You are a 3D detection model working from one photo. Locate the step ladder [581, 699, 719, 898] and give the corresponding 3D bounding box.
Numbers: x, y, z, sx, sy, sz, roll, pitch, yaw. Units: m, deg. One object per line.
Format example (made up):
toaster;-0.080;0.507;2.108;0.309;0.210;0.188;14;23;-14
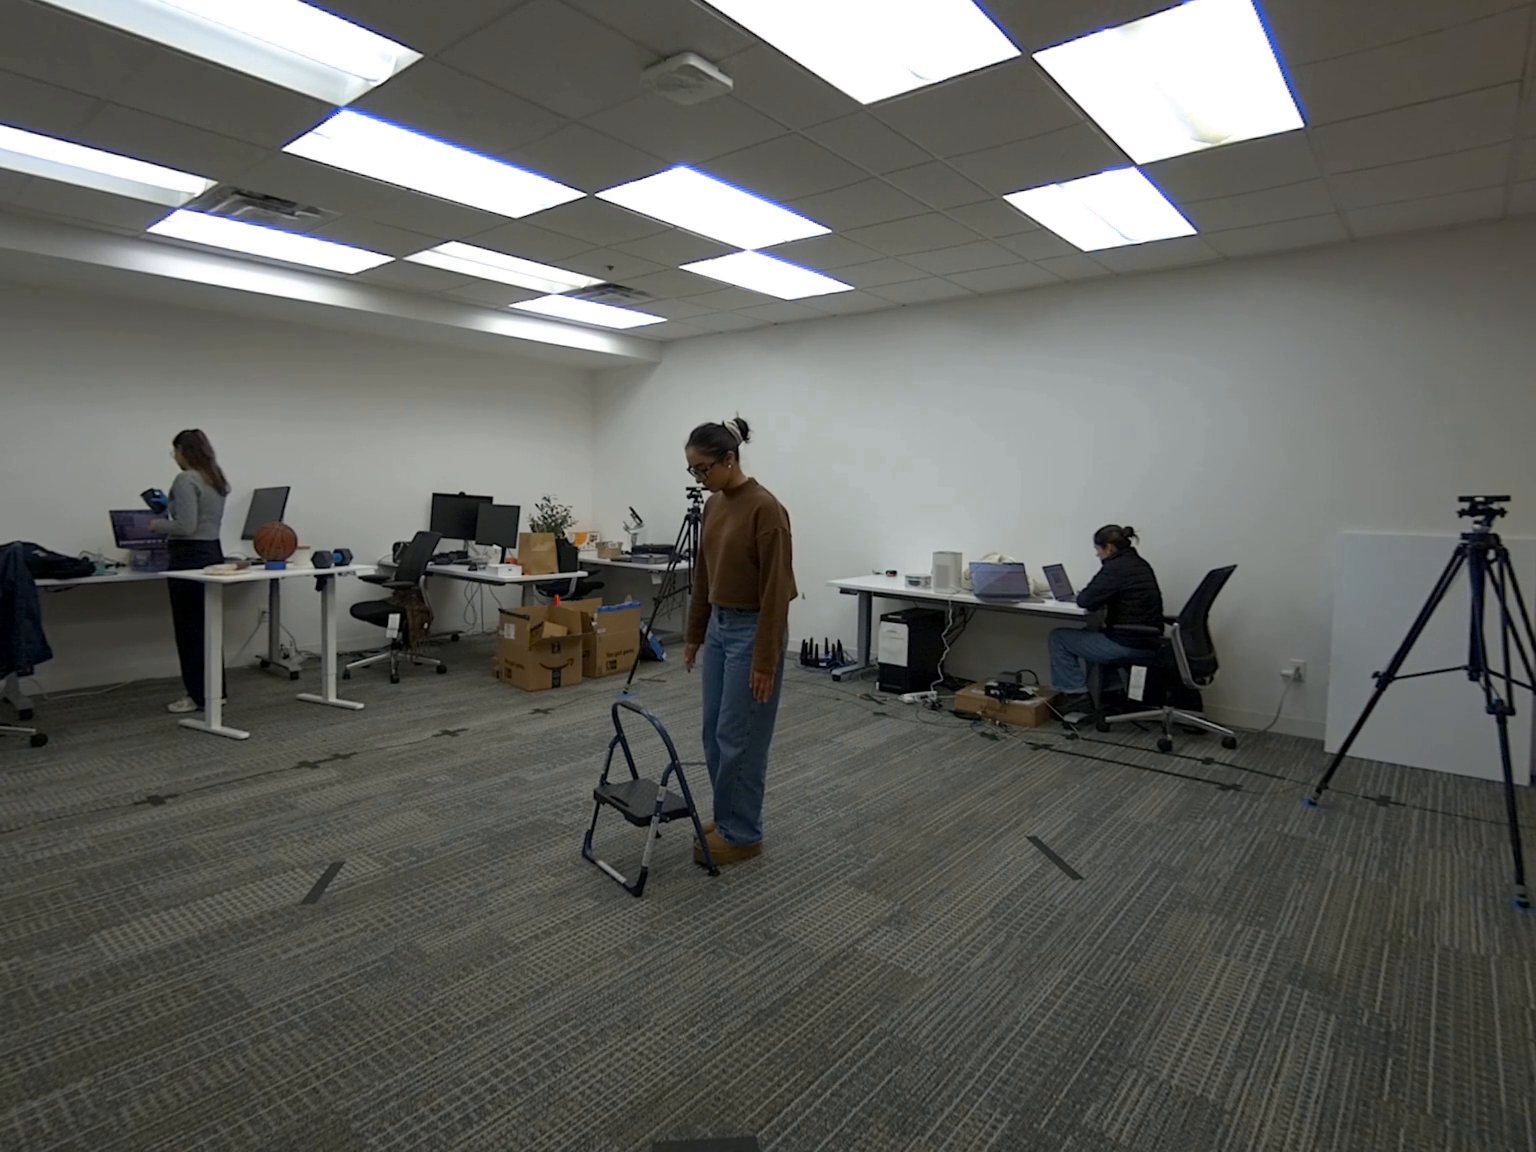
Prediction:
step ladder;-0.443;0.757;3.117;0.339;0.604;0.445;-1;4;-39
